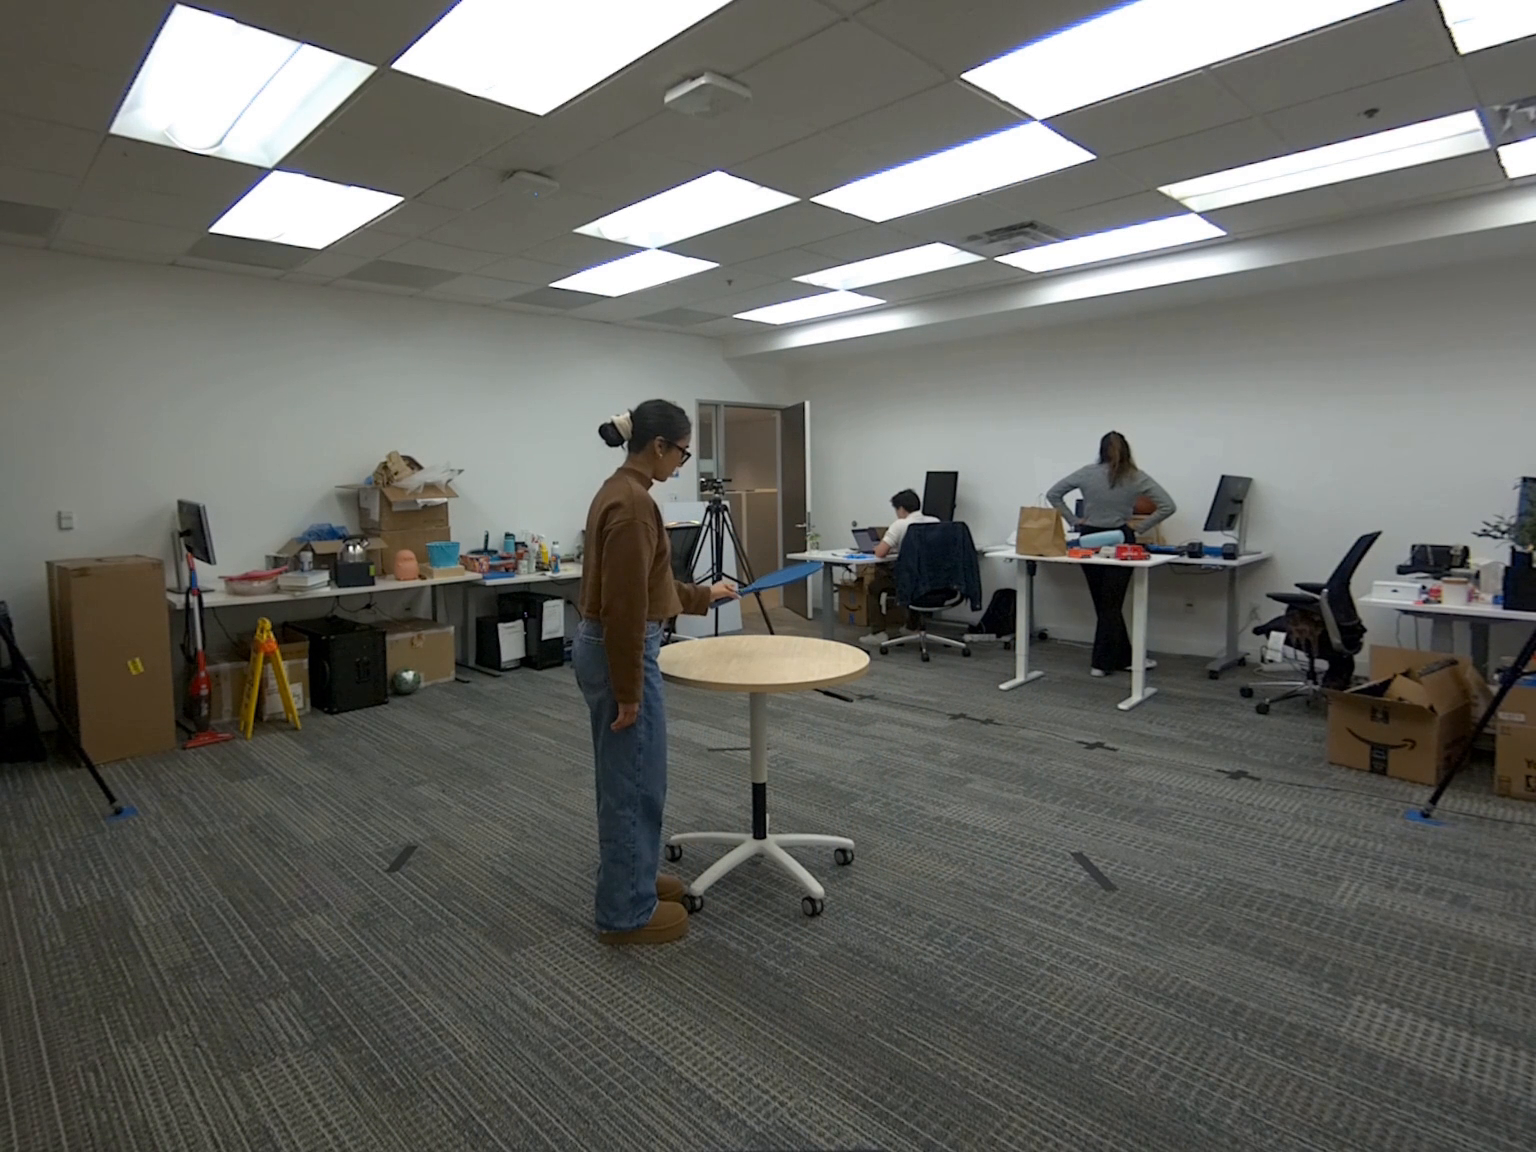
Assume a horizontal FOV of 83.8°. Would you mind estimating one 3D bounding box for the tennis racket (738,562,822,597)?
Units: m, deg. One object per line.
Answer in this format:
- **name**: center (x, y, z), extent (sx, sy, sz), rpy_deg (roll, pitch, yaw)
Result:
- **tennis racket**: center (-0.010, 0.028, 2.958), extent (0.429, 0.031, 0.218), rpy_deg (-20, 11, -14)
